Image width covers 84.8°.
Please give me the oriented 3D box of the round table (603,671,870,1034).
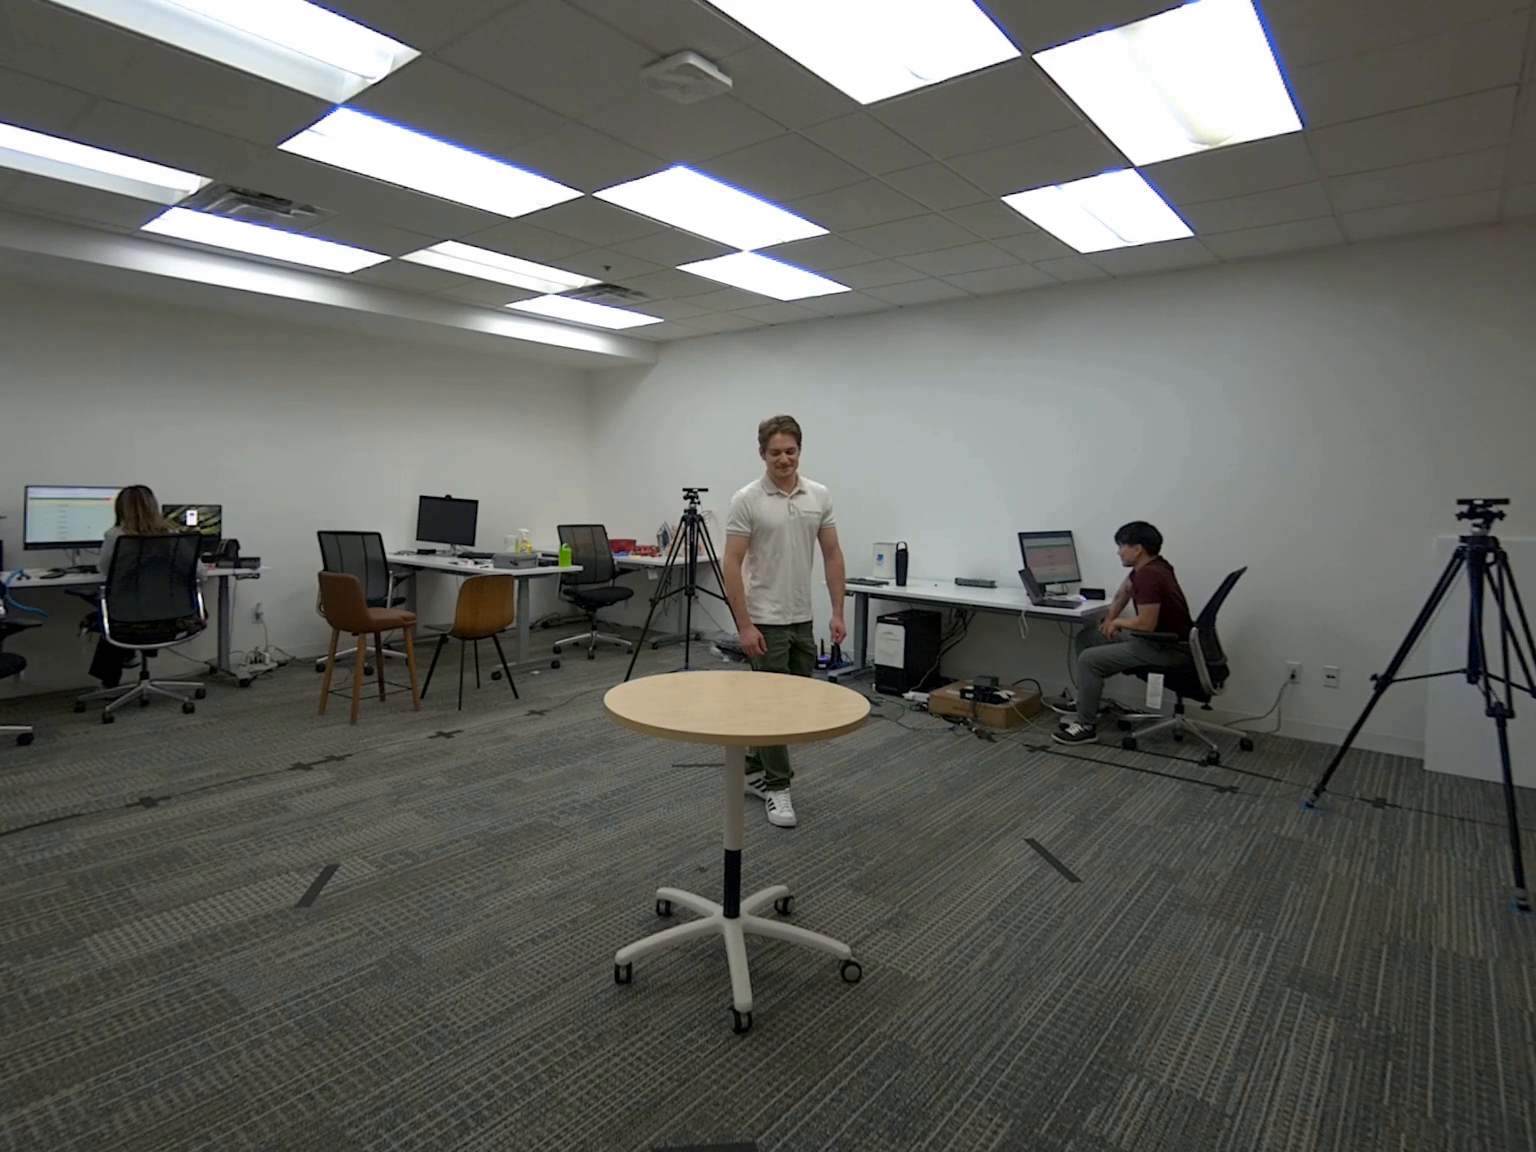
[{"bbox_3d":[-0.115,0.745,2.486,0.763,0.791,0.768,1,4,-2],"label":"round table"}]
